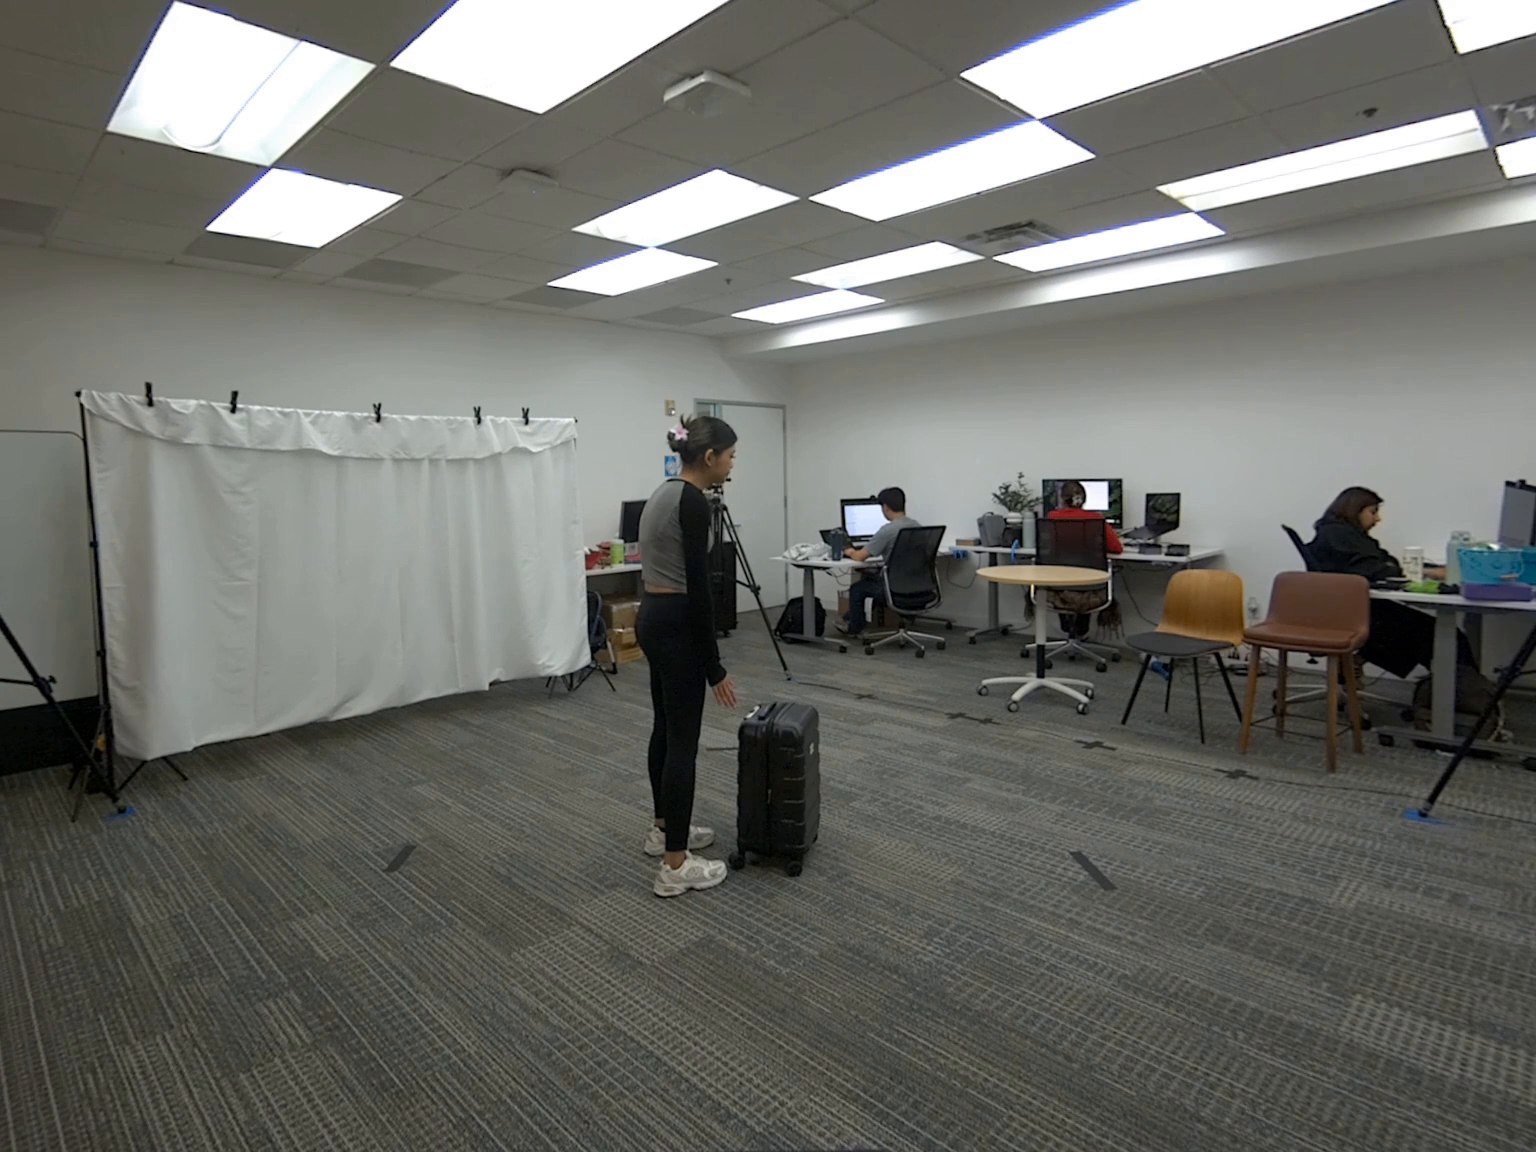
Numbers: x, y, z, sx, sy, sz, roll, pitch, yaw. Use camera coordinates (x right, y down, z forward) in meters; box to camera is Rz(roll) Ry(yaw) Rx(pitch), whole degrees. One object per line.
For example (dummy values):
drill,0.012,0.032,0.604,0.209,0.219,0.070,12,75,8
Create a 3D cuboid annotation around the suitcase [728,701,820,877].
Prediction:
suitcase,0.044,0.757,3.171,0.253,0.547,0.370,2,4,17
